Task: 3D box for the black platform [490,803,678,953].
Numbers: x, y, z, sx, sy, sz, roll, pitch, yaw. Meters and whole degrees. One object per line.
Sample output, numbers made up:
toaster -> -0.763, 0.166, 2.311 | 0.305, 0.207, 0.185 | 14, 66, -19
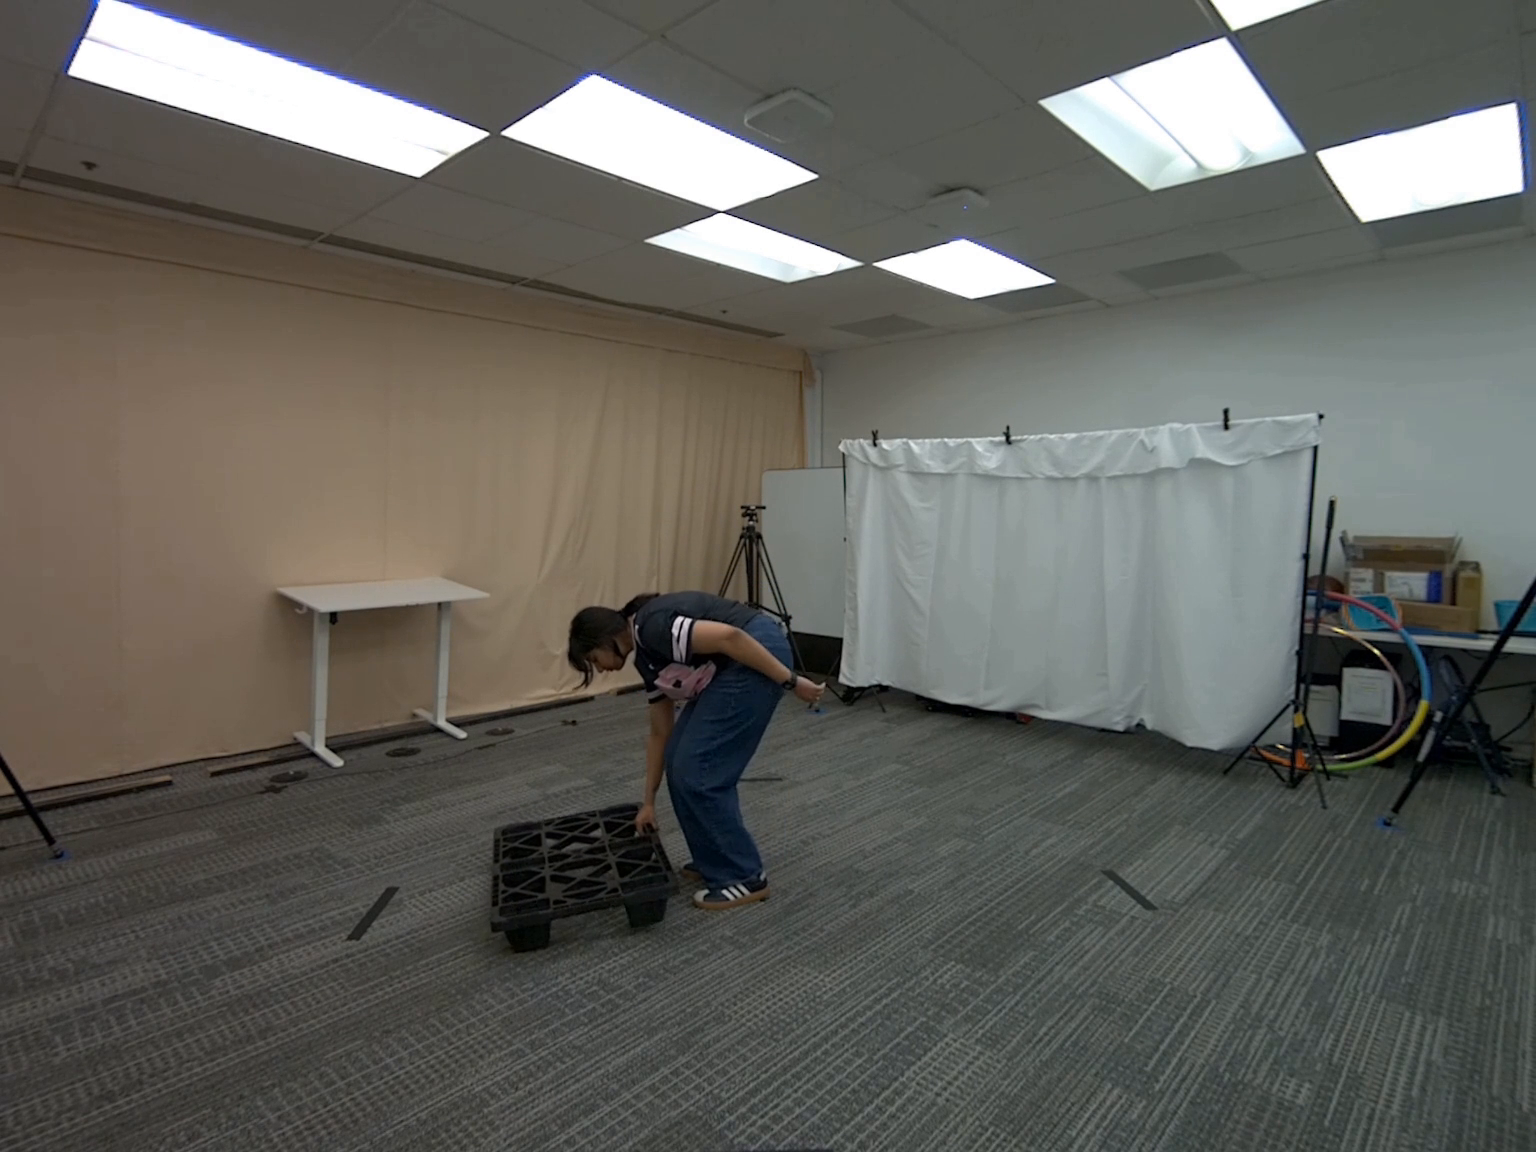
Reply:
black platform -> -0.688, 1.060, 3.024 | 0.597, 0.143, 0.820 | -8, 6, -15
